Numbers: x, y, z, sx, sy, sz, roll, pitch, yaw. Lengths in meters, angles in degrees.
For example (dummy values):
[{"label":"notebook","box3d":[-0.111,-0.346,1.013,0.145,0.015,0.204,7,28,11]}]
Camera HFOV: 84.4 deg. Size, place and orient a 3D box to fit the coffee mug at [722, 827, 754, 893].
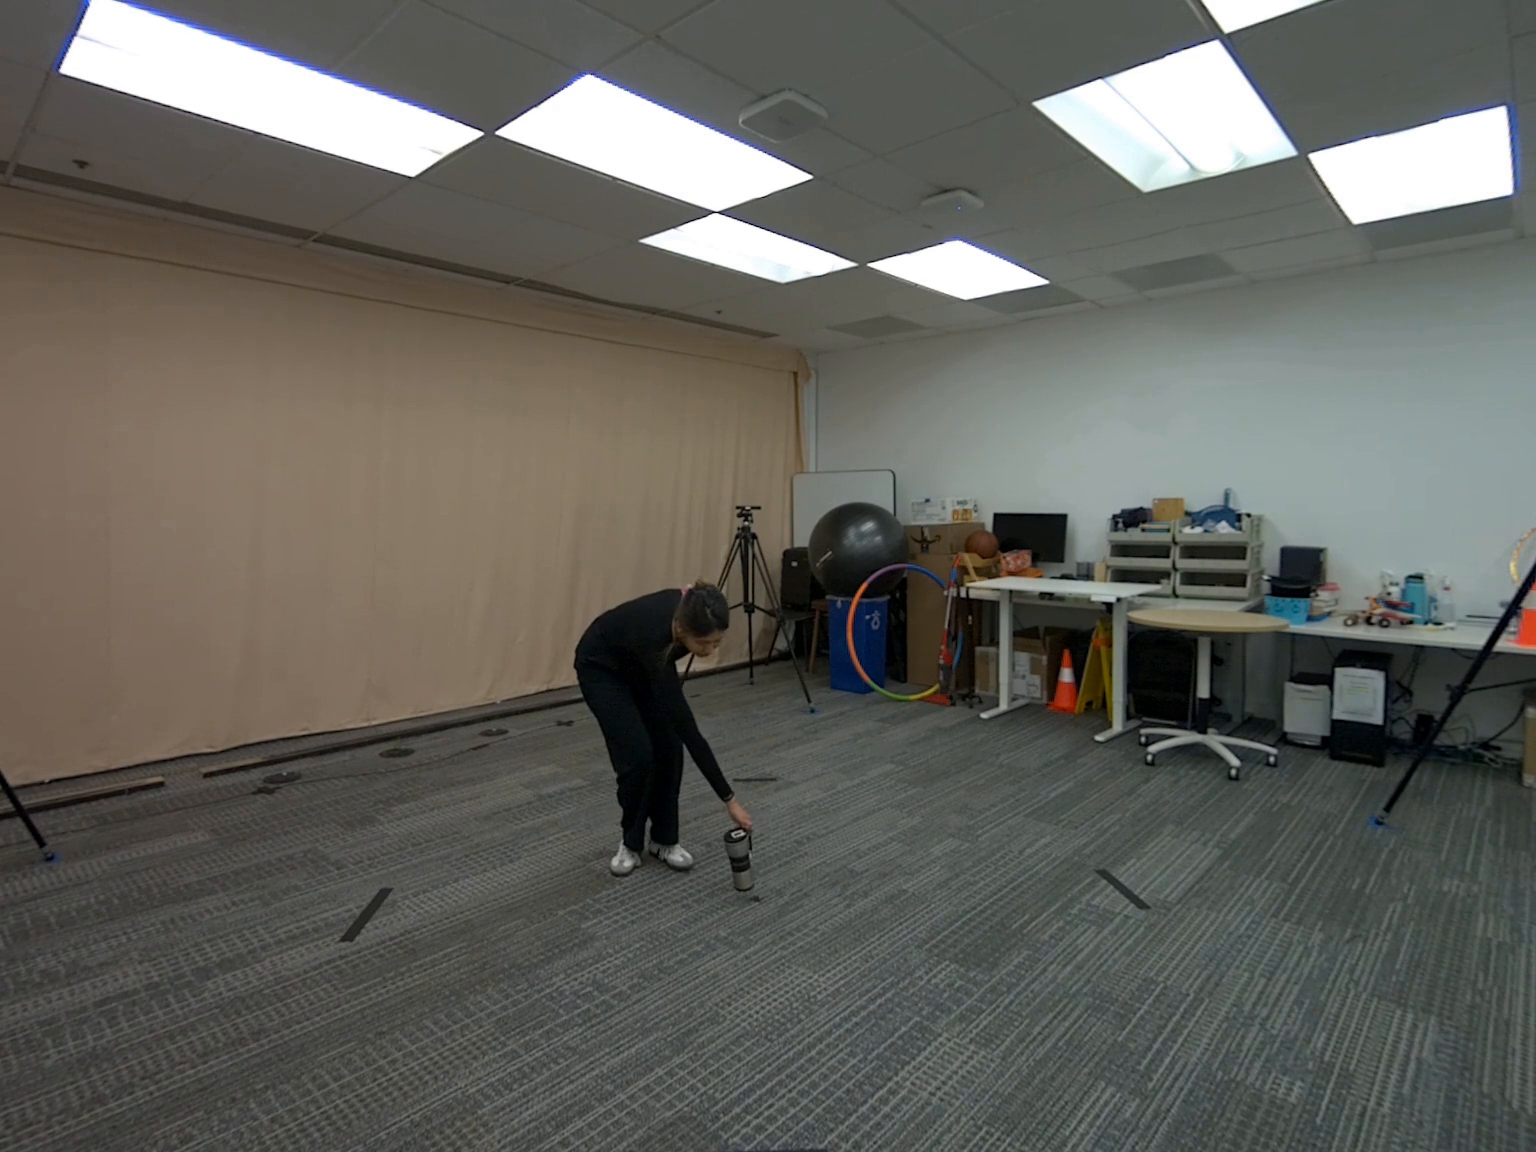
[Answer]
[{"label":"coffee mug","box3d":[-0.093,1.013,2.944,0.085,0.203,0.125,-10,3,-40]}]
